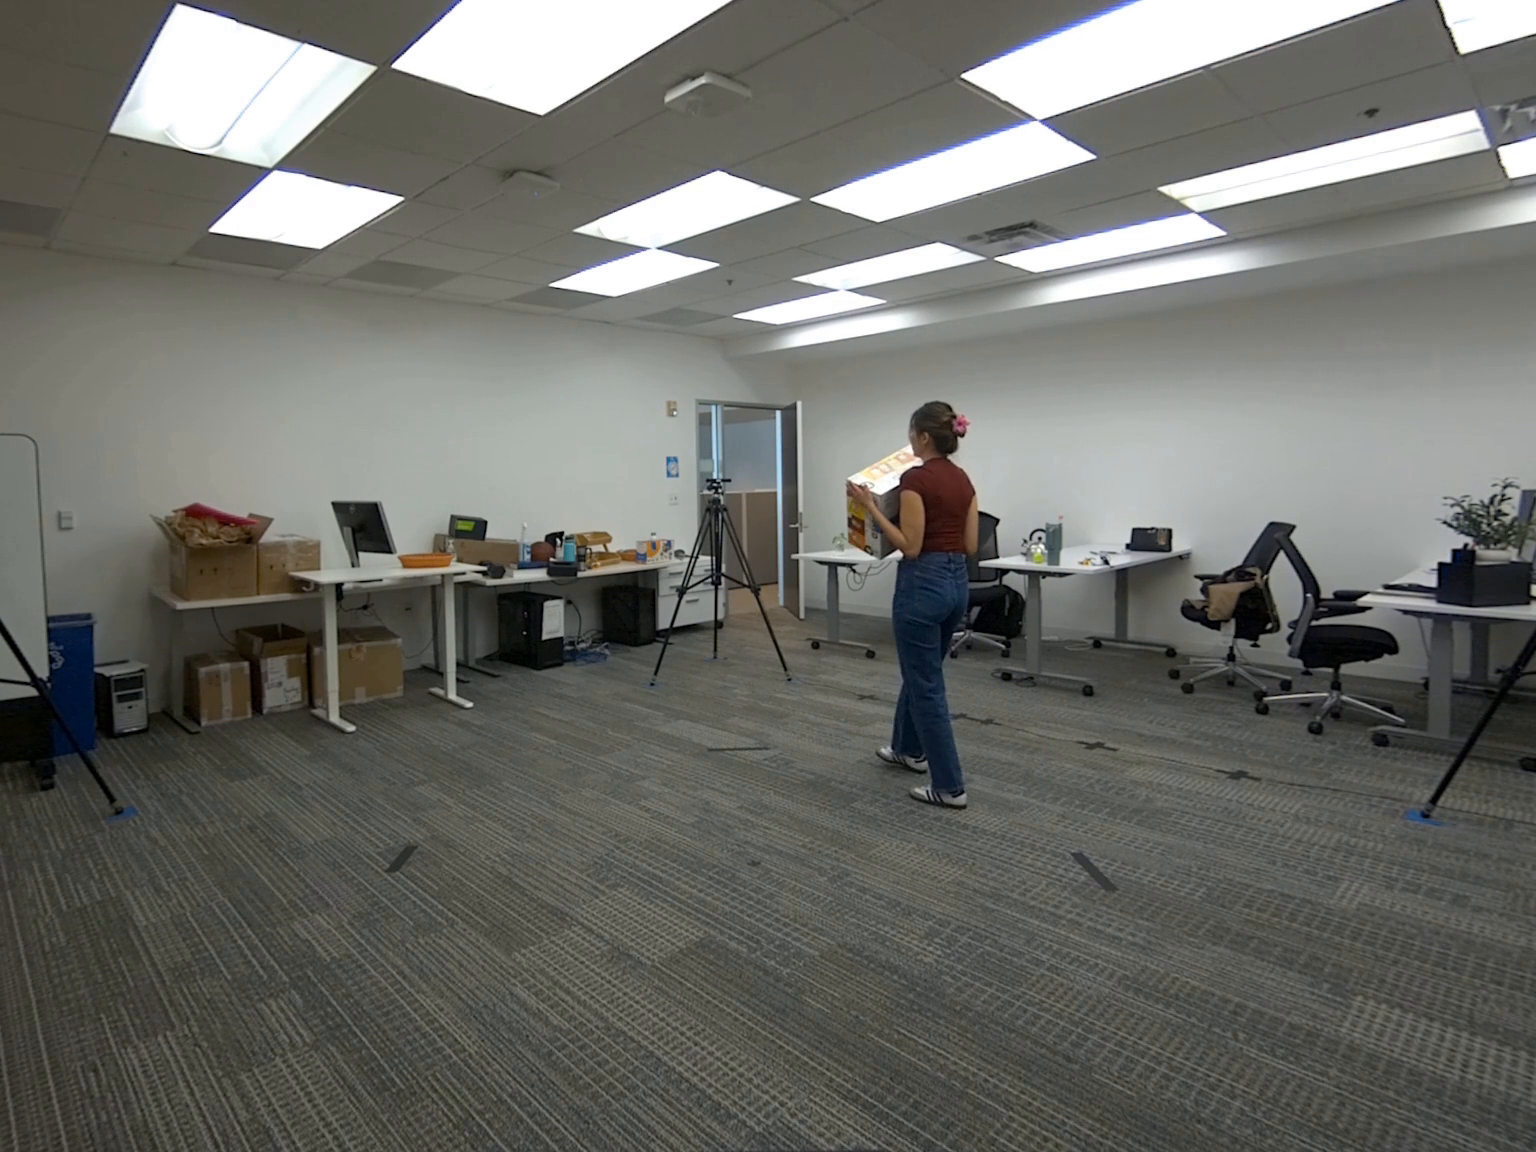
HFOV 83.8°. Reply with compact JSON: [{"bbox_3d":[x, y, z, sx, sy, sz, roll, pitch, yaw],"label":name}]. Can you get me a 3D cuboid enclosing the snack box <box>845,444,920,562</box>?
[{"bbox_3d":[0.566,-0.331,3.799,0.401,0.330,0.214,-29,42,-27],"label":"snack box"}]
